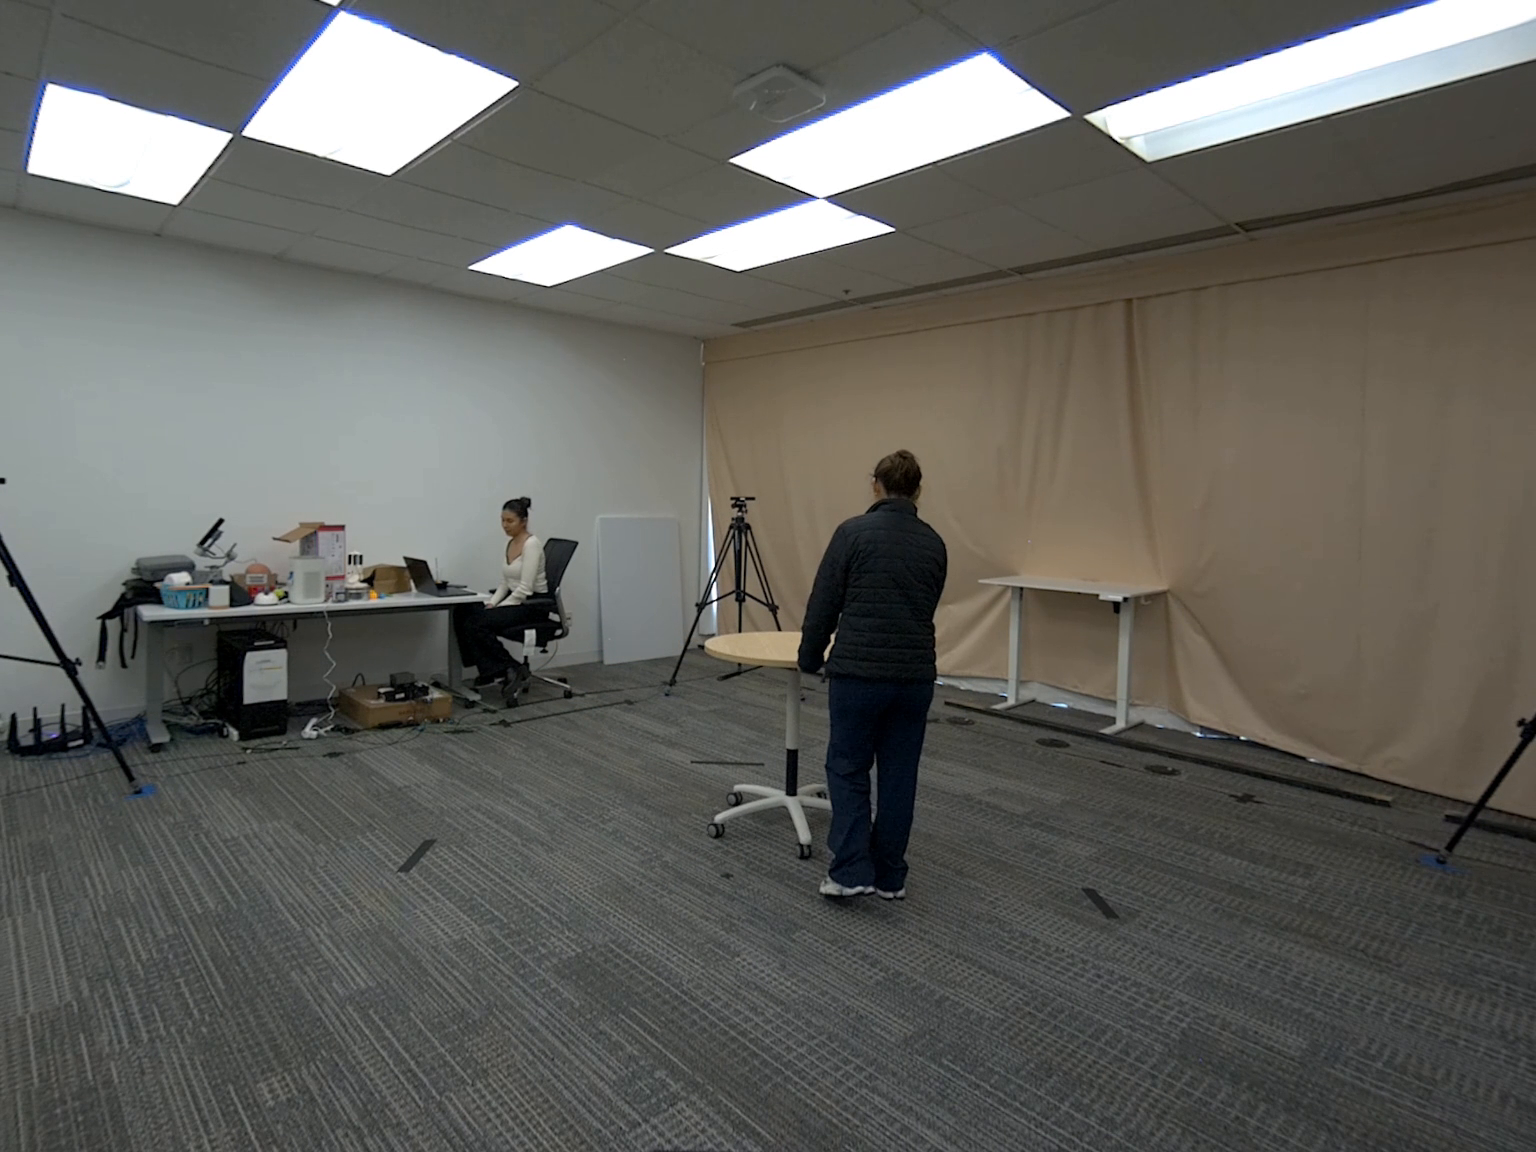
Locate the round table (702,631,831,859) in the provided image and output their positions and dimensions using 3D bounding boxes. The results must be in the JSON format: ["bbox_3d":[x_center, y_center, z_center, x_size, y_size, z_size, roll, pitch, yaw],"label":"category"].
[{"bbox_3d":[0.091,0.683,3.548,0.784,0.785,0.787,1,3,-1],"label":"round table"}]
